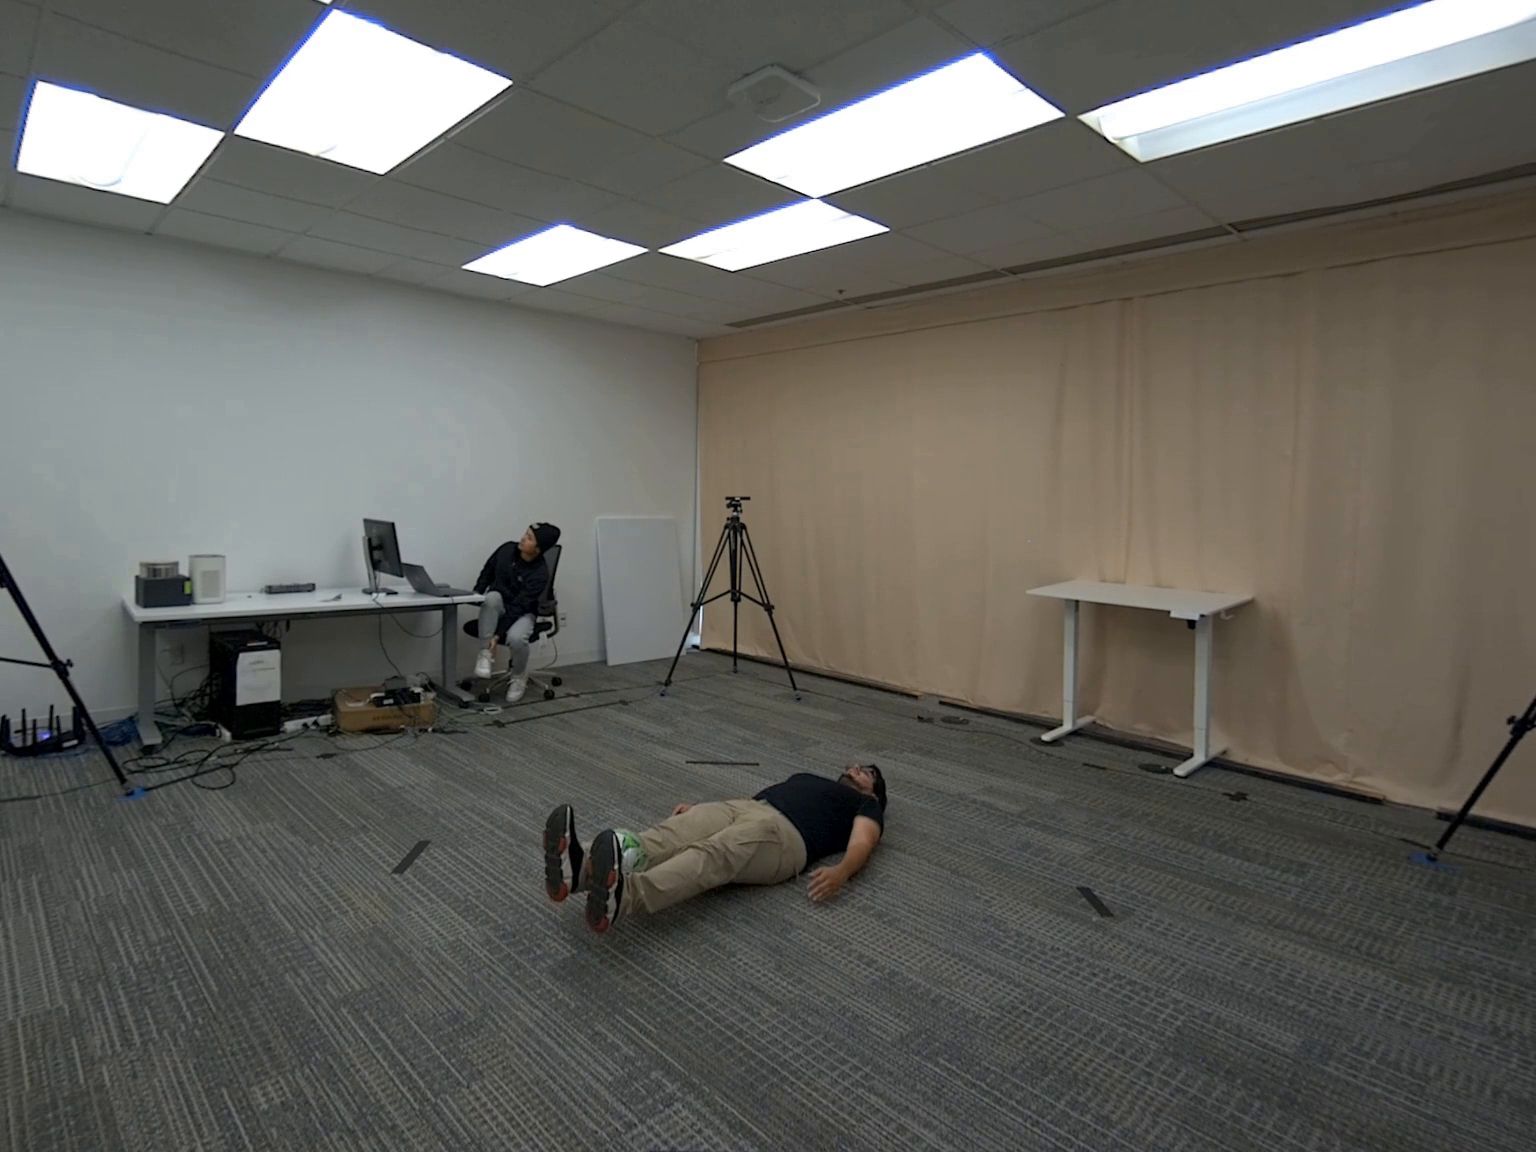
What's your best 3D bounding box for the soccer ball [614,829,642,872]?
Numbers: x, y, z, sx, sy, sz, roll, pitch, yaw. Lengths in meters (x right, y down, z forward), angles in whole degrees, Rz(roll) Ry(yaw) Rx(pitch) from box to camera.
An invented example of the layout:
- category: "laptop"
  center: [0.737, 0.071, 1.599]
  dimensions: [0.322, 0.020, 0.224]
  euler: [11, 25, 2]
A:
- category: "soccer ball"
  center: [-0.490, 0.917, 2.690]
  dimensions: [0.187, 0.187, 0.188]
  euler: [1, 5, -1]
